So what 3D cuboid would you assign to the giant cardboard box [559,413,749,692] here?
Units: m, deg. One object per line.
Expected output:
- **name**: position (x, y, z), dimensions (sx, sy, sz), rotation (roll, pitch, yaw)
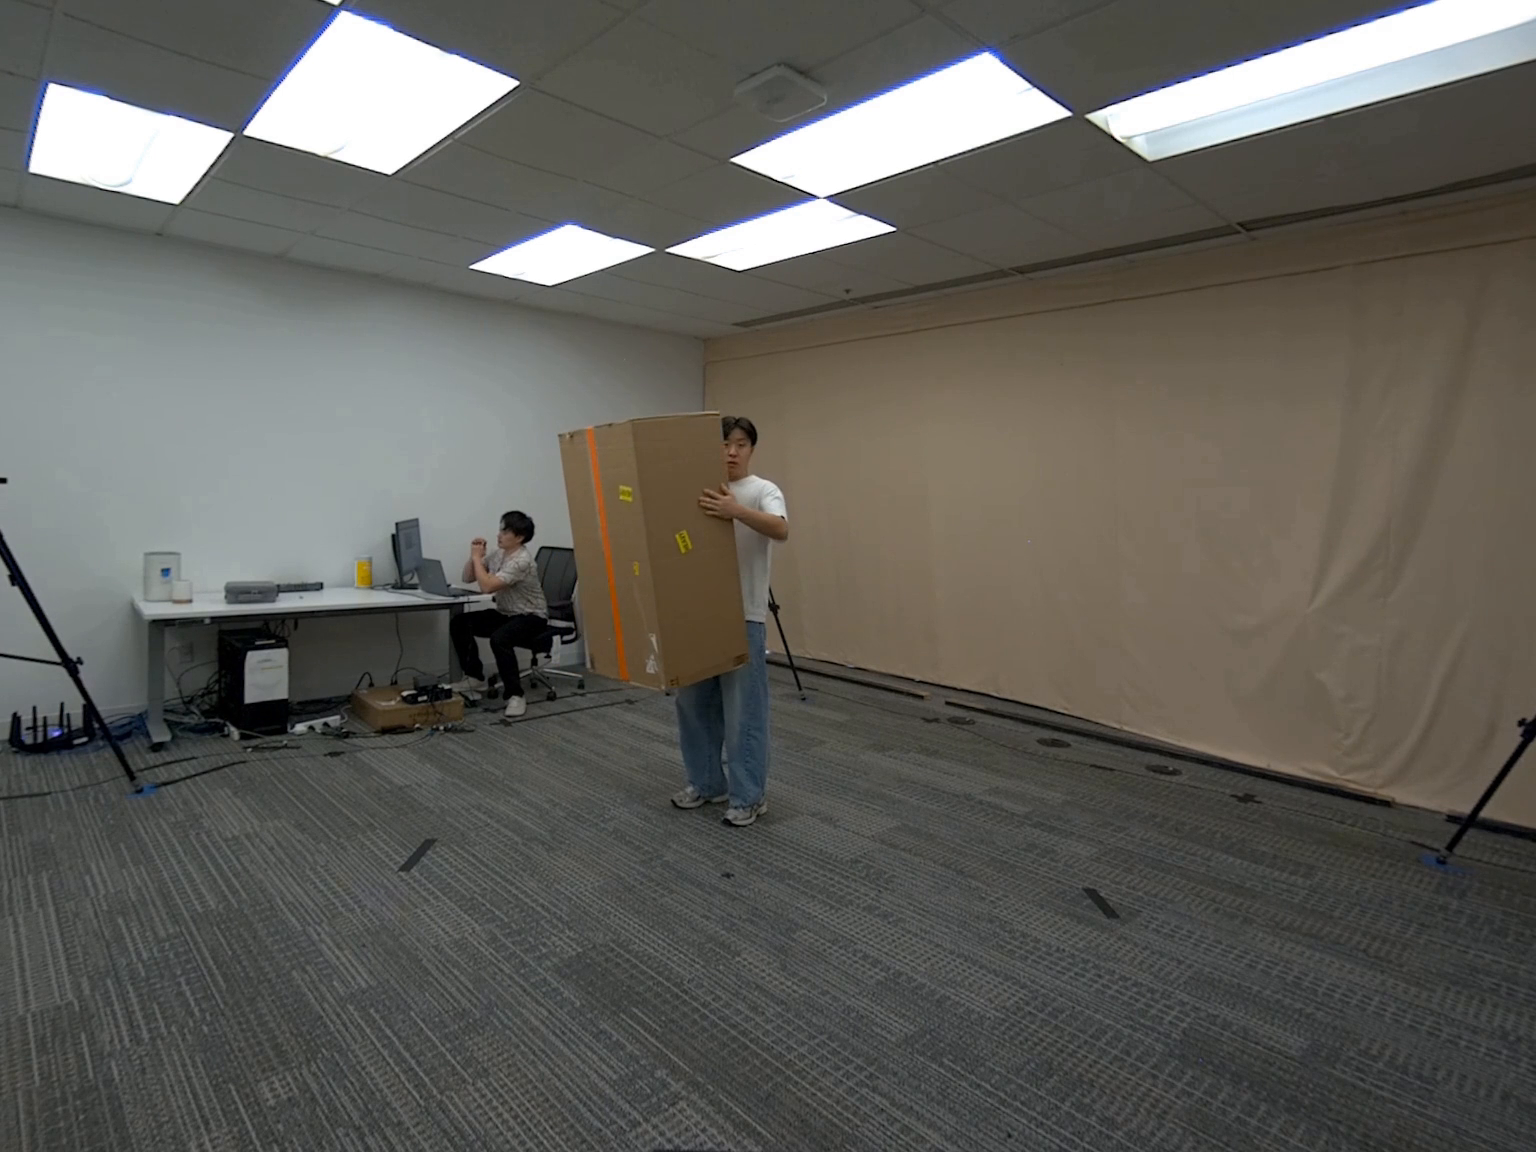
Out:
- **giant cardboard box**: position (-0.483, -0.107, 3.444), dimensions (0.418, 1.020, 0.591), rotation (-12, 9, -39)
